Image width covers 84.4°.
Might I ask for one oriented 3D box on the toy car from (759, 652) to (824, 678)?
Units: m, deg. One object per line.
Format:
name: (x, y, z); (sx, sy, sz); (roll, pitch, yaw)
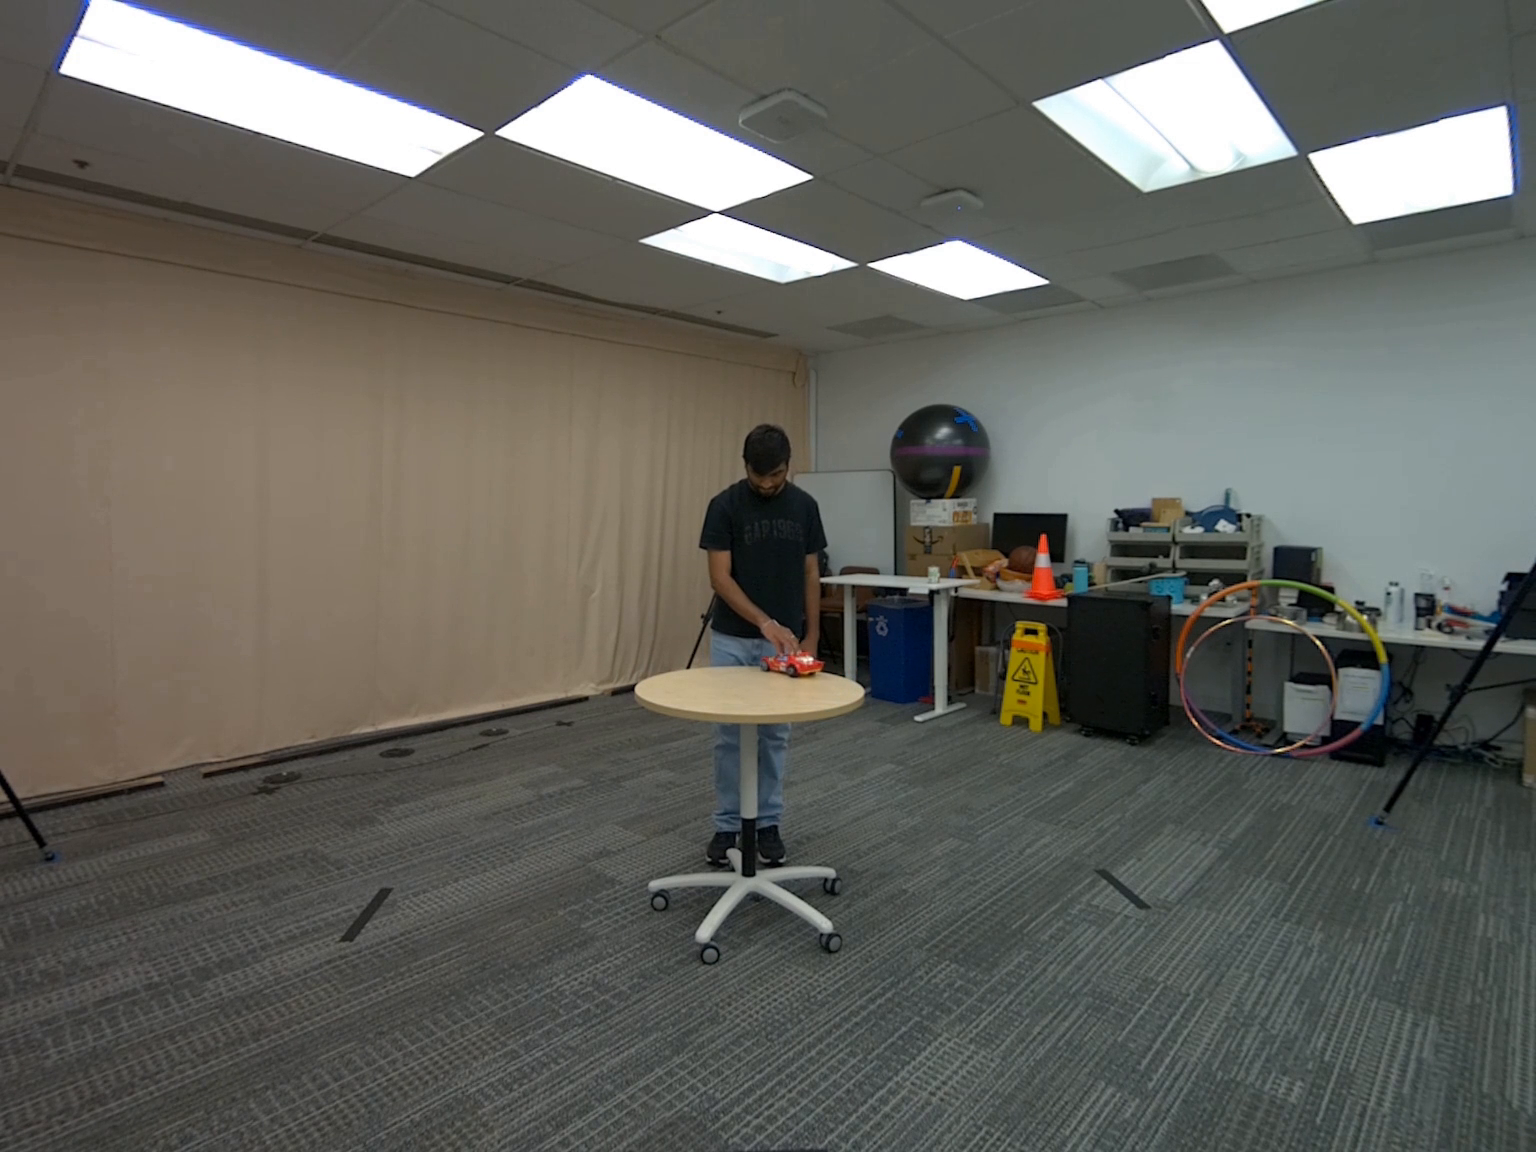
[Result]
toy car: (0.091, 0.323, 3.064); (0.126, 0.083, 0.261); (-2, -6, -41)
